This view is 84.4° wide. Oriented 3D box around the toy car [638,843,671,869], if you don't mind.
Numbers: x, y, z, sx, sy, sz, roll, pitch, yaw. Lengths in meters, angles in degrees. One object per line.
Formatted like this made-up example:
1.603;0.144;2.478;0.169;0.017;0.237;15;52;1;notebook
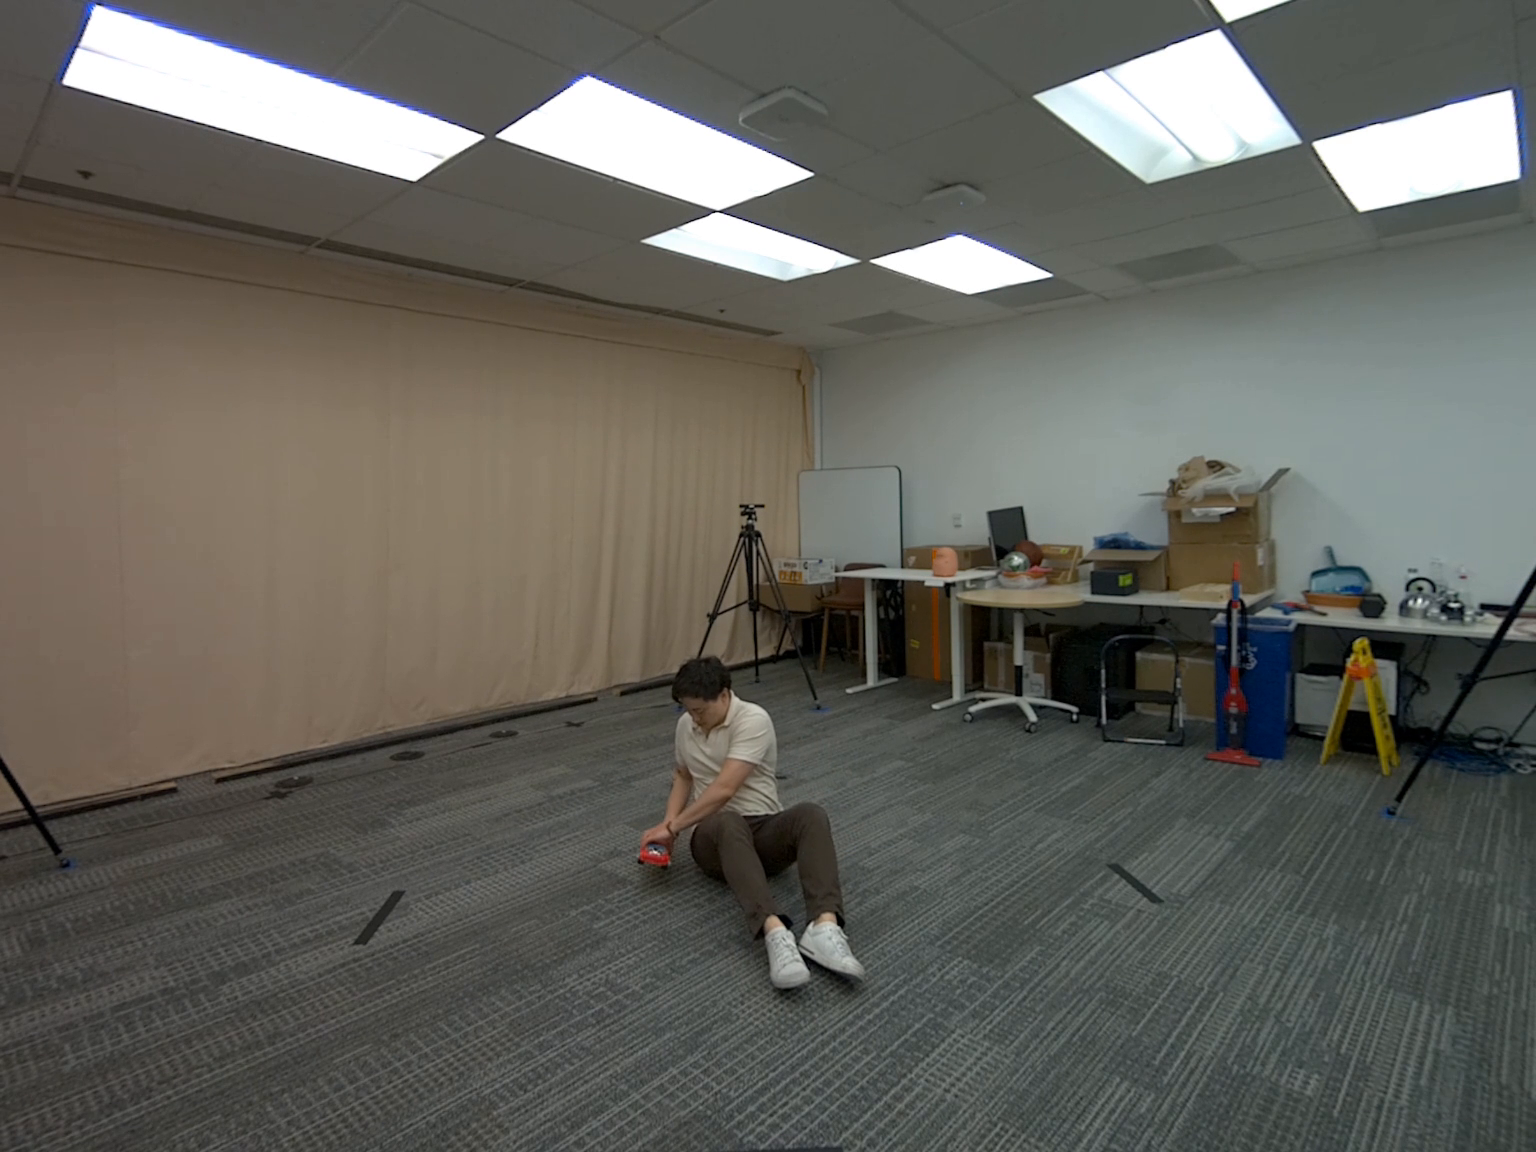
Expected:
-0.404;1.026;3.152;0.130;0.083;0.256;11;6;-5;toy car
